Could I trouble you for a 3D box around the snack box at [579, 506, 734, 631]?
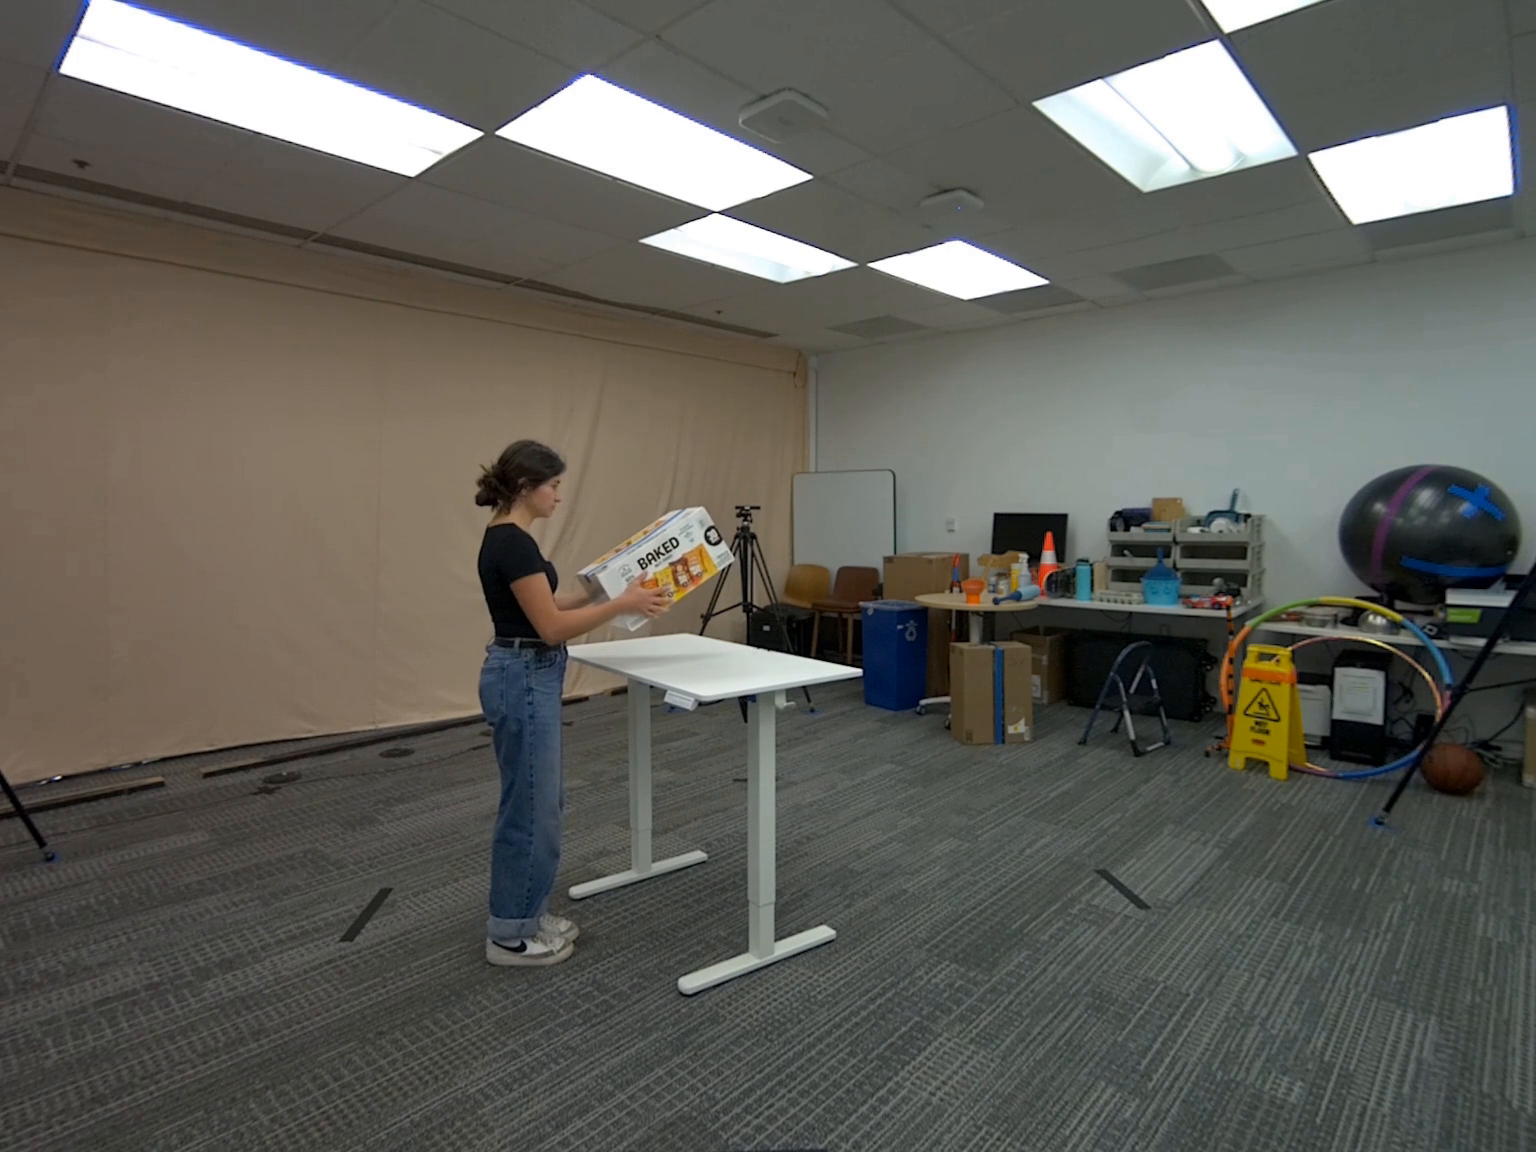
[{"bbox_3d":[-0.370,-0.028,2.739,0.401,0.203,0.348,-36,14,-19],"label":"snack box"}]
